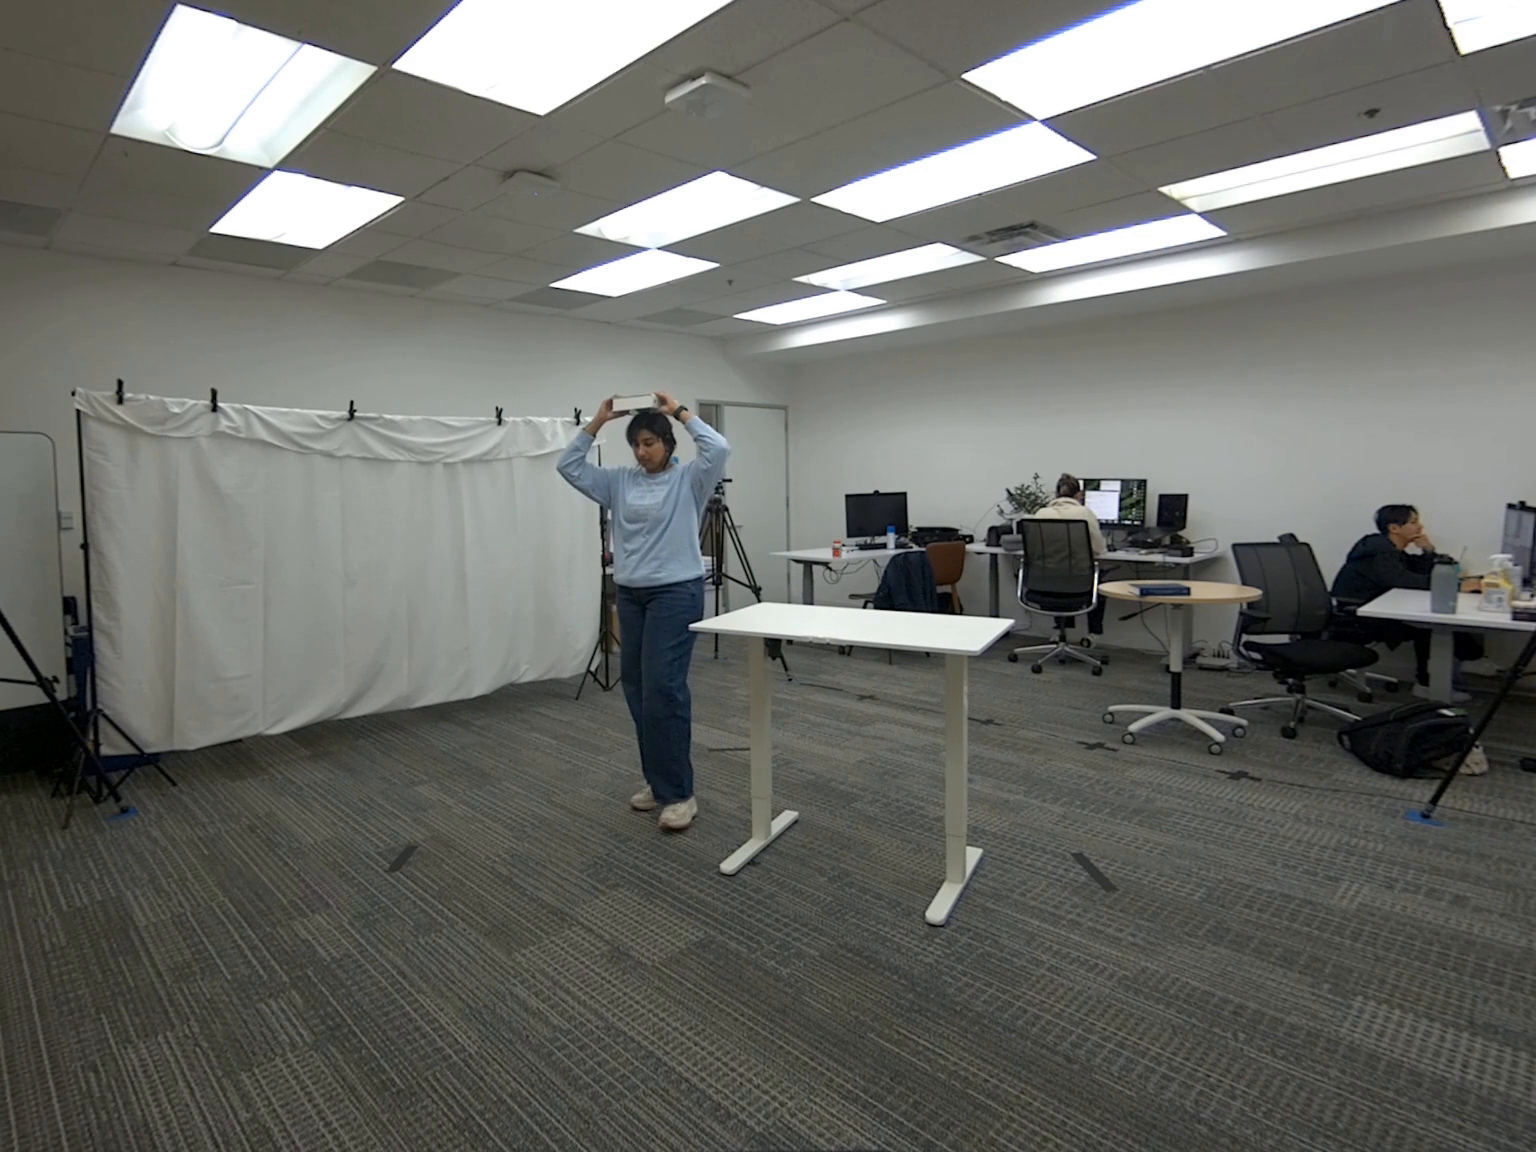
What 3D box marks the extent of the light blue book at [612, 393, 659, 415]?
[{"bbox_3d":[-0.519,-0.720,3.604,0.194,0.059,0.258,-2,4,13],"label":"light blue book"}]
